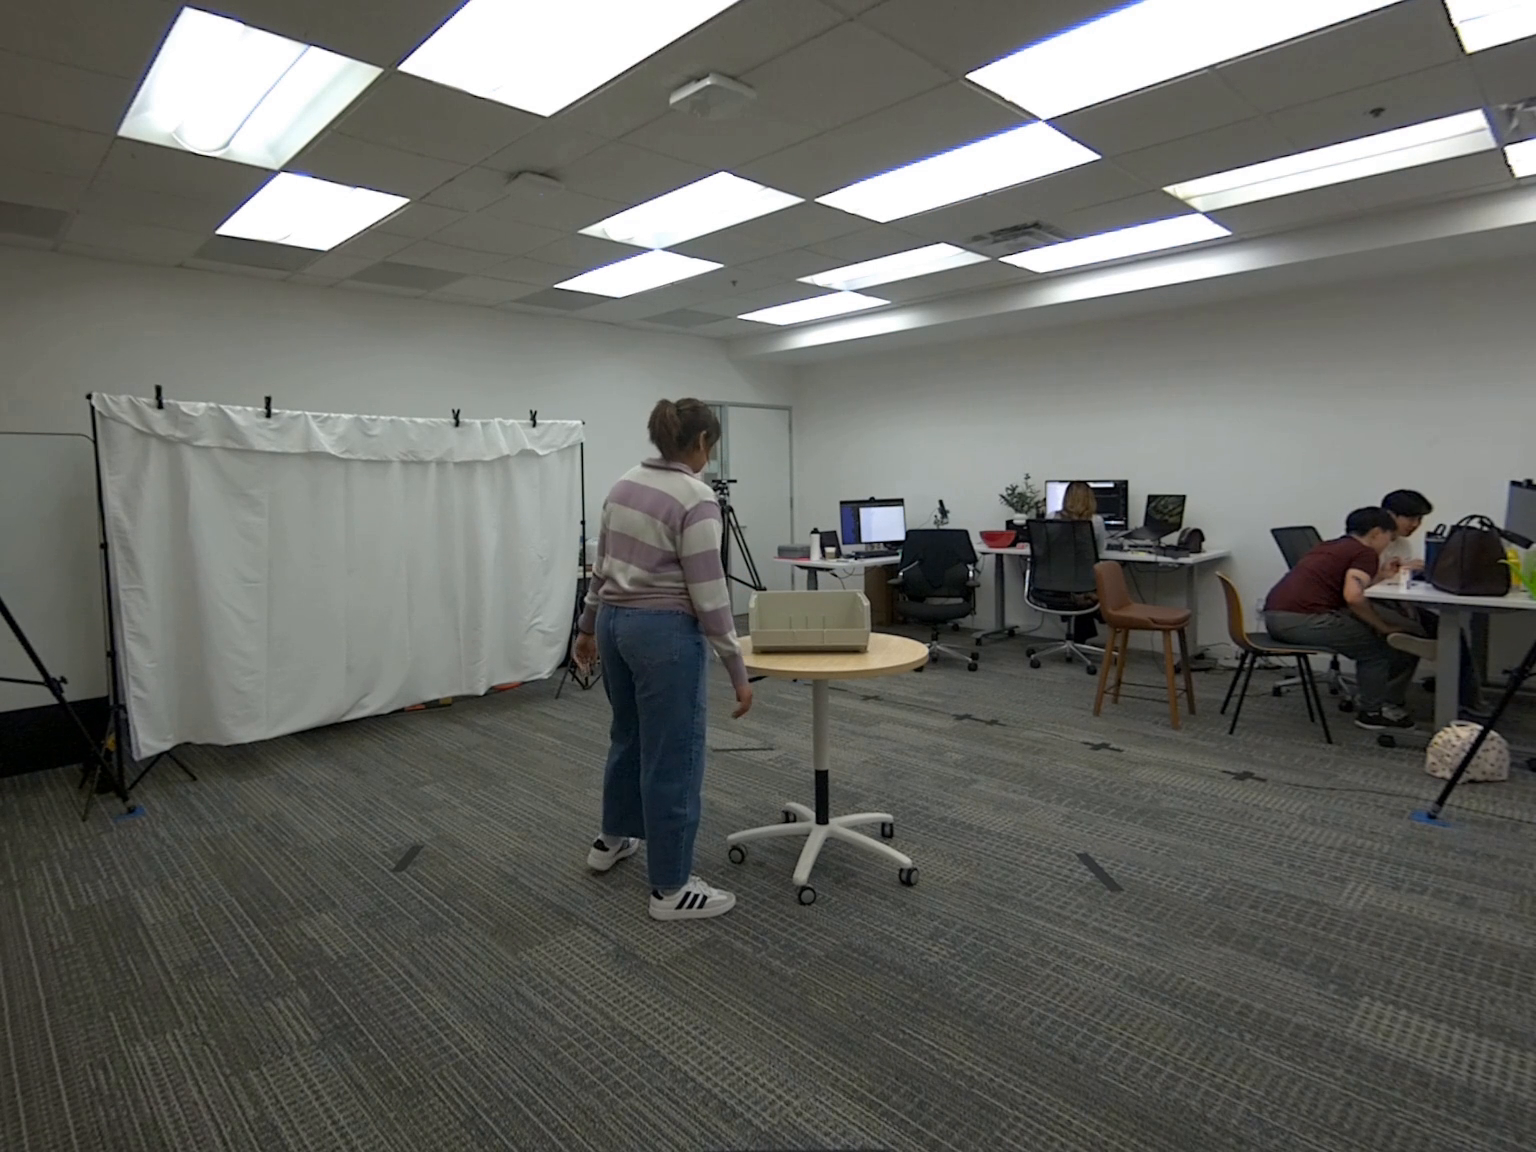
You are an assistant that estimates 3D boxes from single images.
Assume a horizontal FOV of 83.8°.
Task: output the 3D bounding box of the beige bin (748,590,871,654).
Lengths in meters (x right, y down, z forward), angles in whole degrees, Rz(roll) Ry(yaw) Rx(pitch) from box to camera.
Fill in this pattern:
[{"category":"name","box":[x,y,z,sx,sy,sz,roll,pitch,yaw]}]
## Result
[{"category":"beige bin","box":[0.150,0.168,3.128,0.424,0.188,0.377,-2,4,3]}]
